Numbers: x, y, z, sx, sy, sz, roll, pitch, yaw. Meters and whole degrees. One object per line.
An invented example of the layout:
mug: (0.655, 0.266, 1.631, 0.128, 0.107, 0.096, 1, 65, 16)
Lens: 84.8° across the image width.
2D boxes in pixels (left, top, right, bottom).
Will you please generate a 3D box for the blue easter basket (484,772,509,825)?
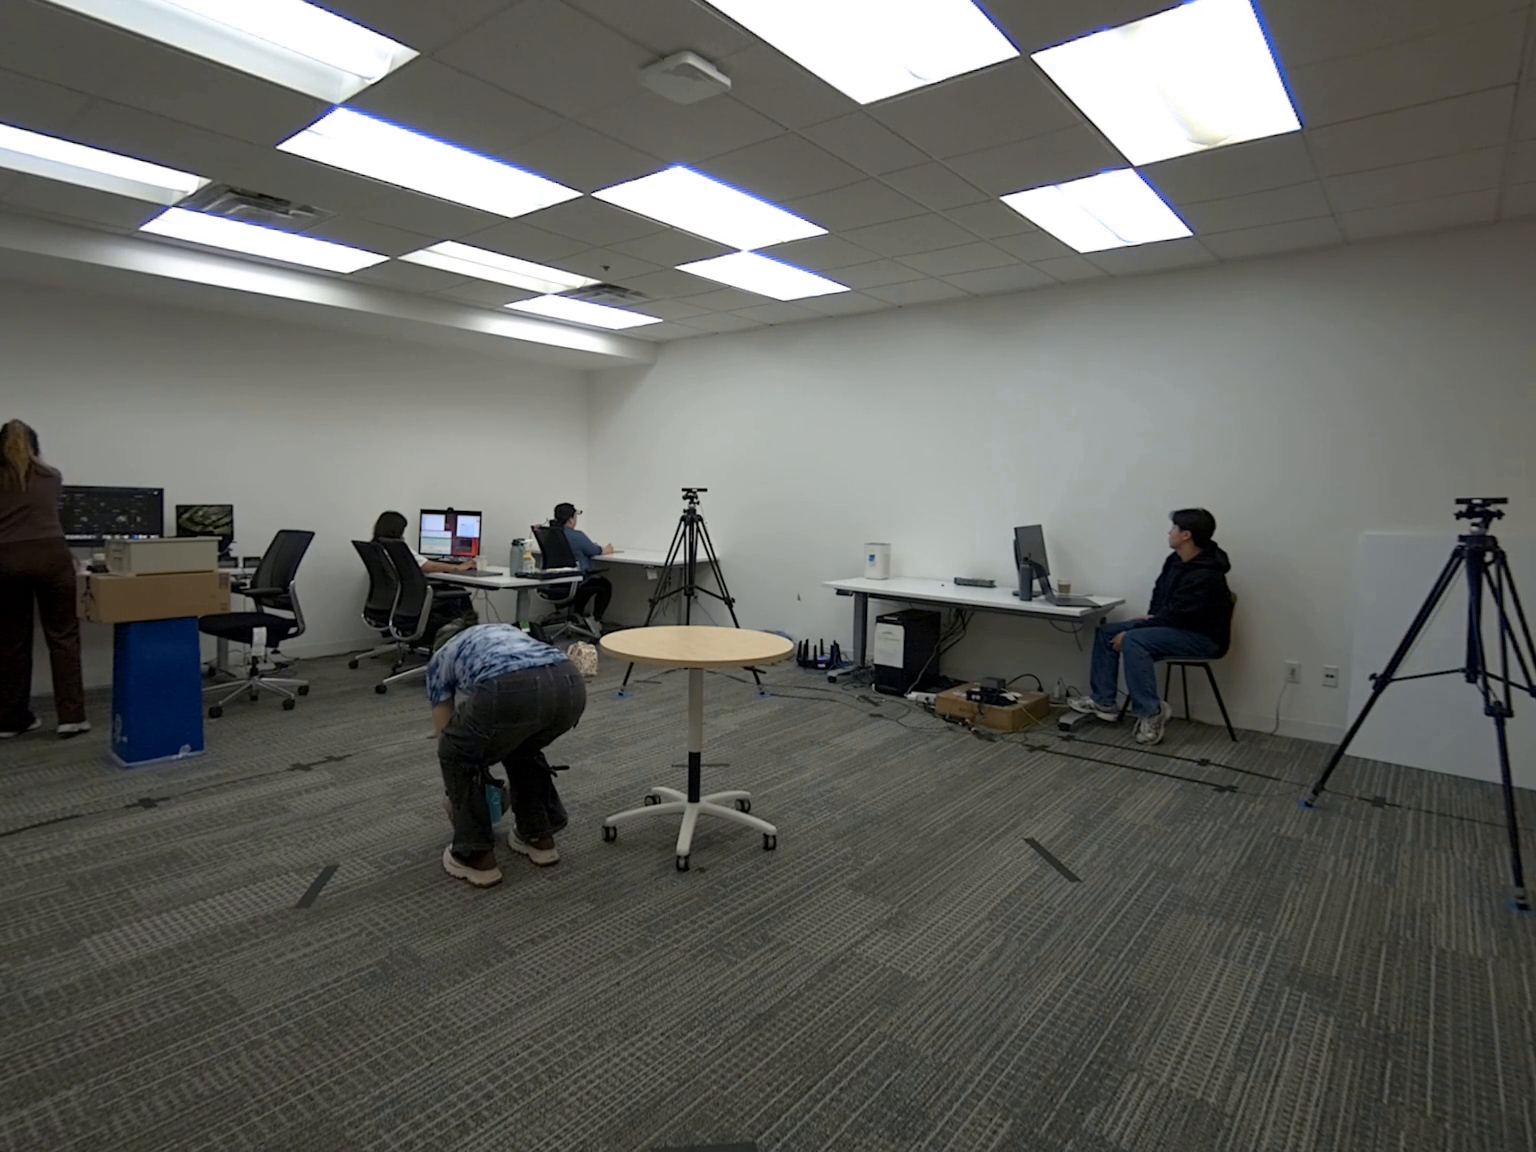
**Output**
blue easter basket: (-1.171, 0.899, 3.385, 0.243, 0.157, 0.242, -7, -7, -3)
